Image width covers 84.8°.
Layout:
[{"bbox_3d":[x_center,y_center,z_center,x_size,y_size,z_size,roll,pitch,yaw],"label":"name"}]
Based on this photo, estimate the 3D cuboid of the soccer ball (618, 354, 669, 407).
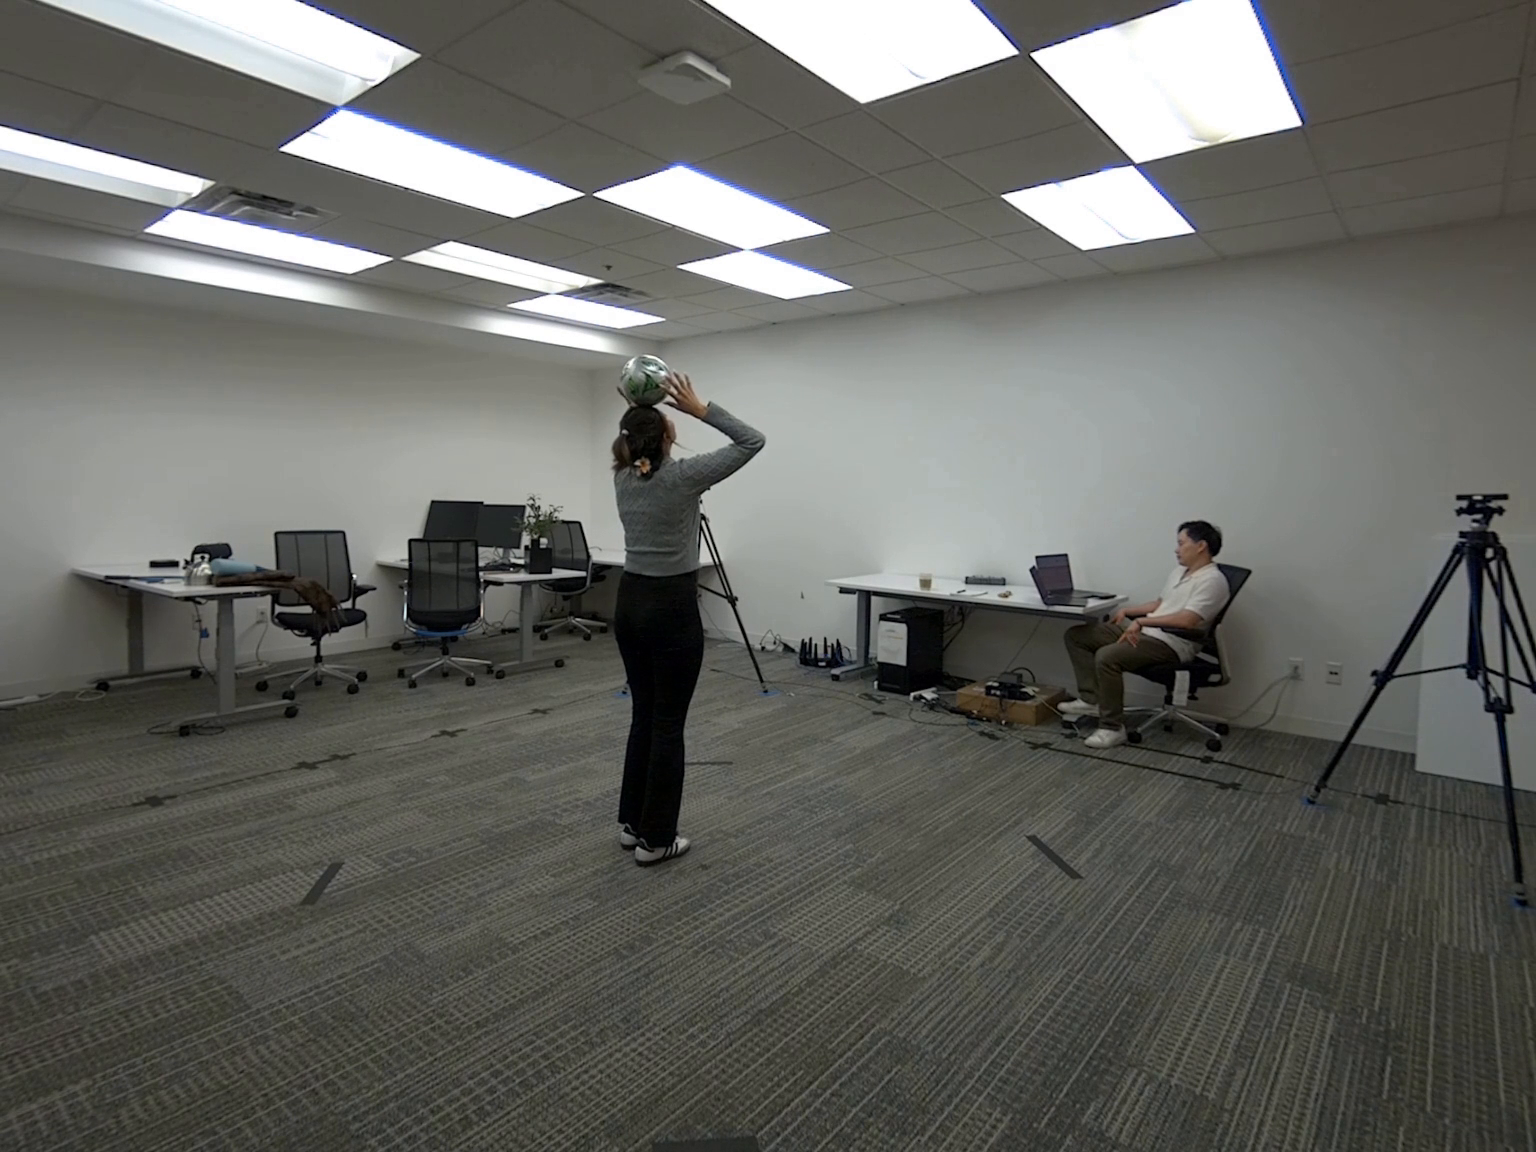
[{"bbox_3d":[-0.461,-0.719,3.119,0.187,0.187,0.188,1,4,-2],"label":"soccer ball"}]
